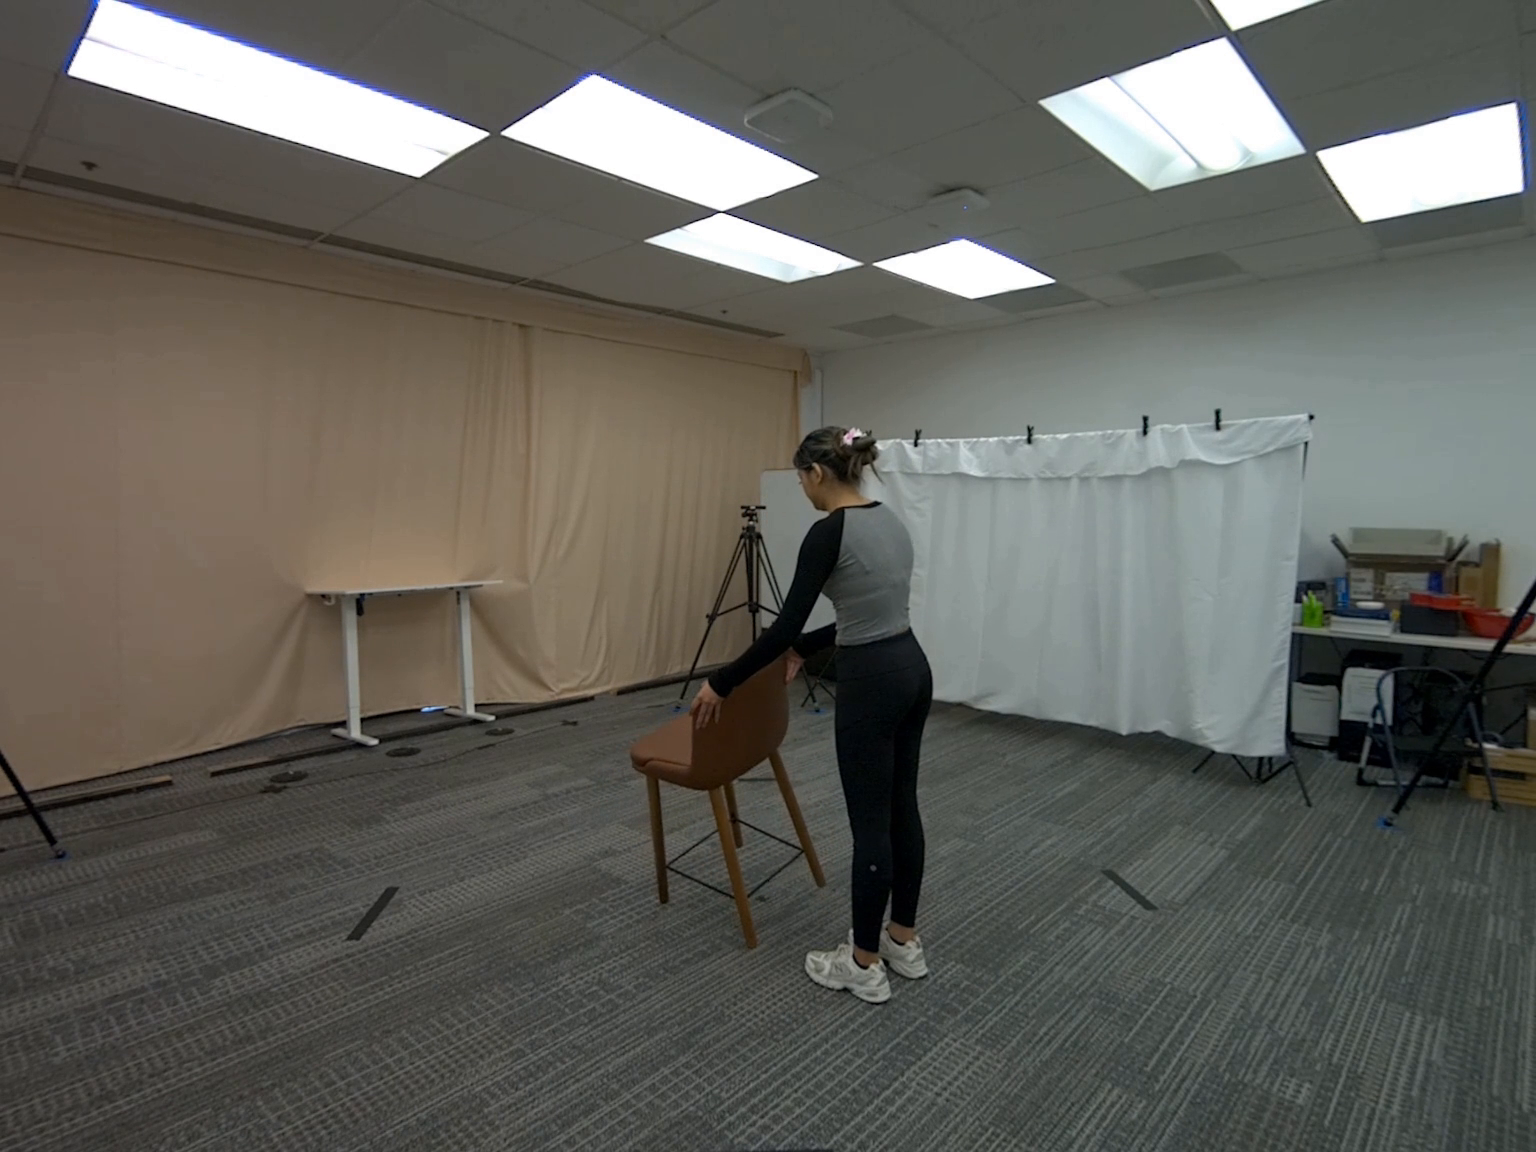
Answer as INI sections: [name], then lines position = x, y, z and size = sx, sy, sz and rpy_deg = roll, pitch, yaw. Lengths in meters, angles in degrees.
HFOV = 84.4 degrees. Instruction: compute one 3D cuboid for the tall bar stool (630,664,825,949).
[tall bar stool]
position = -0.154, 0.689, 2.821
size = 0.484, 0.880, 0.446
rpy_deg = 7, 21, 45
